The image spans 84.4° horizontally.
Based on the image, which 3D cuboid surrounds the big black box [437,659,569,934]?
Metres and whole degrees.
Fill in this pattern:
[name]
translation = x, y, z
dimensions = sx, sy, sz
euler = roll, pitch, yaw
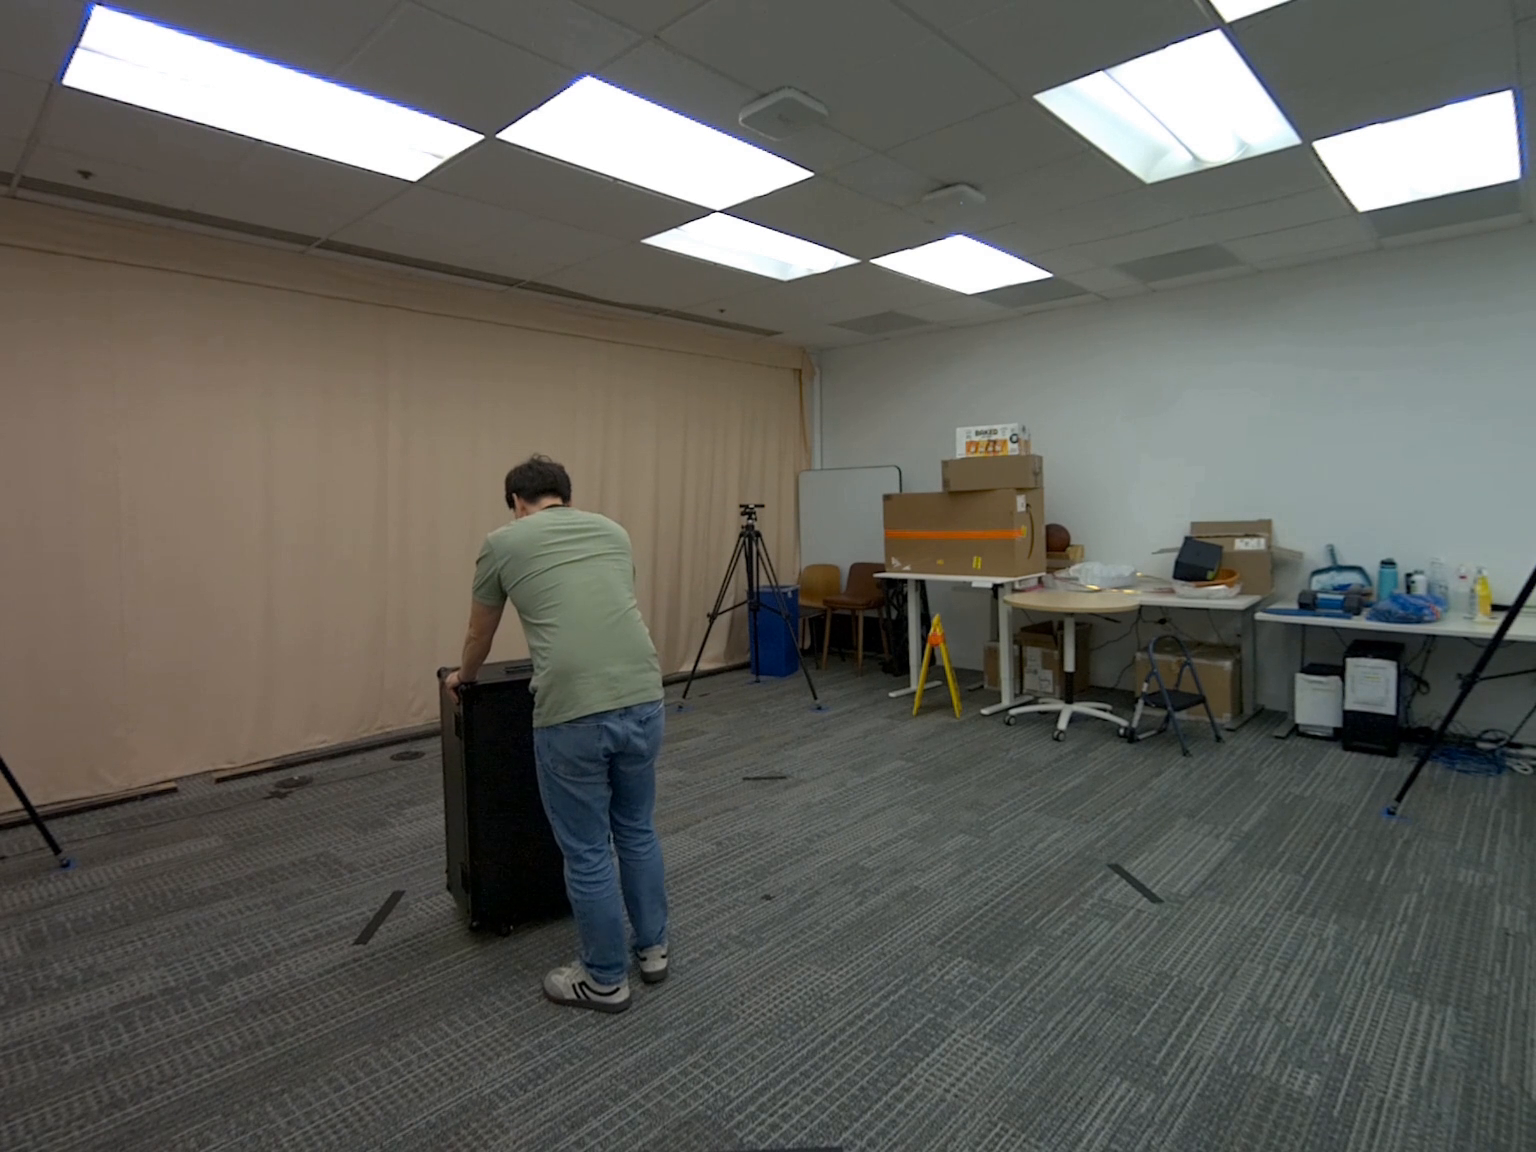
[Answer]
[big black box]
translation = -0.853, 0.742, 2.910
dimensions = 0.507, 0.860, 0.408
euler = -3, 3, -31
